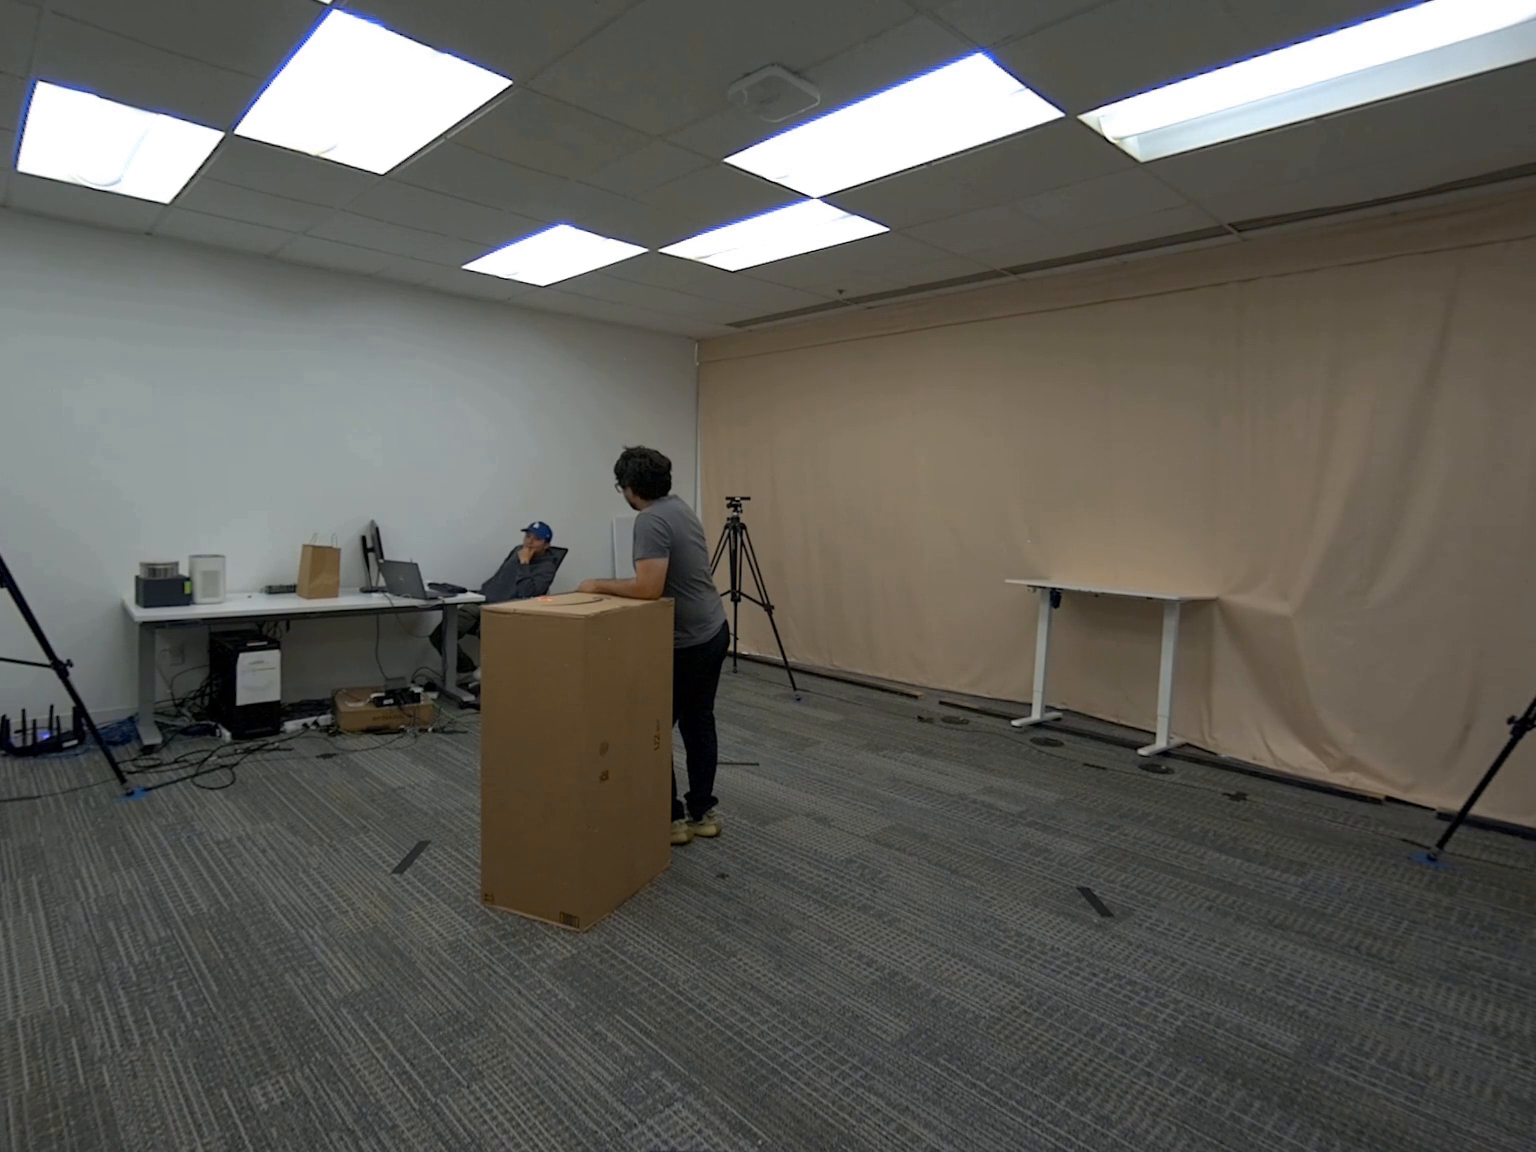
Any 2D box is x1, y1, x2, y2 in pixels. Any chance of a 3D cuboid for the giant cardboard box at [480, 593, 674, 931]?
[{"bbox_3d":[-0.676,0.598,2.986,0.434,1.023,0.568,3,4,25],"label":"giant cardboard box"}]
